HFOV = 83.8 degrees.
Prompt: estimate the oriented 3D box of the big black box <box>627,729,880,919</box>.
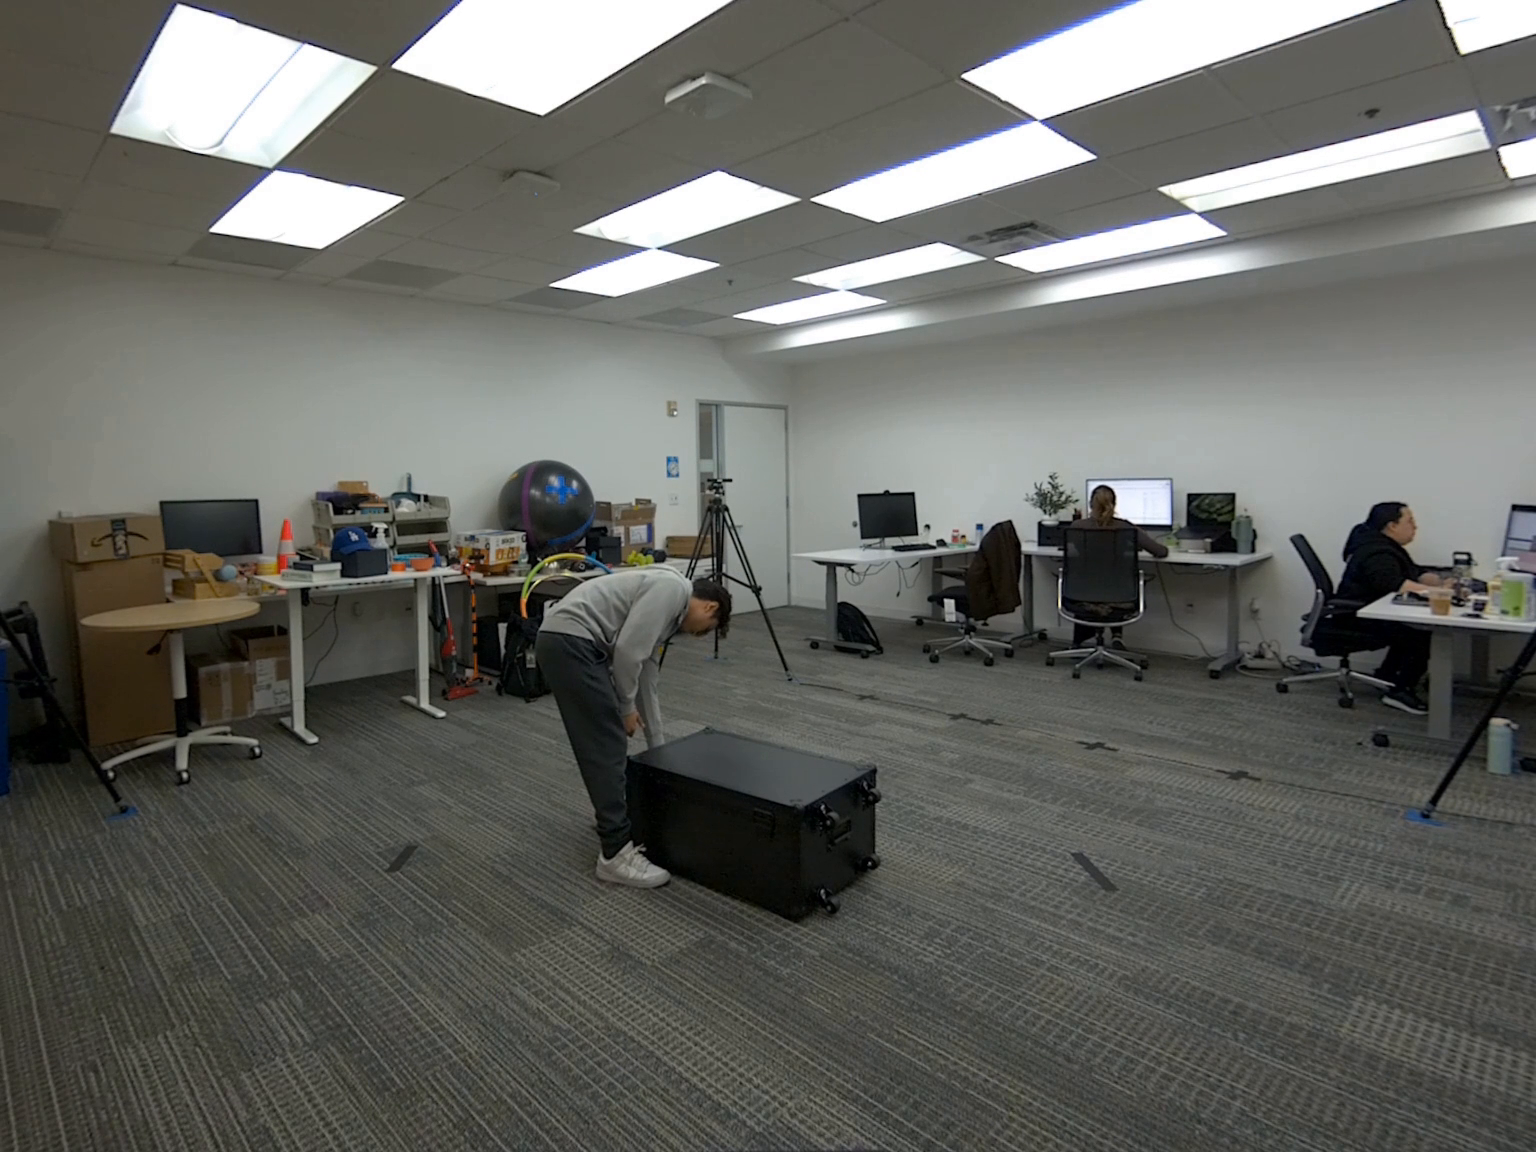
[{"bbox_3d":[-0.046,0.861,3.064,0.887,0.395,0.508,3,6,38],"label":"big black box"}]
